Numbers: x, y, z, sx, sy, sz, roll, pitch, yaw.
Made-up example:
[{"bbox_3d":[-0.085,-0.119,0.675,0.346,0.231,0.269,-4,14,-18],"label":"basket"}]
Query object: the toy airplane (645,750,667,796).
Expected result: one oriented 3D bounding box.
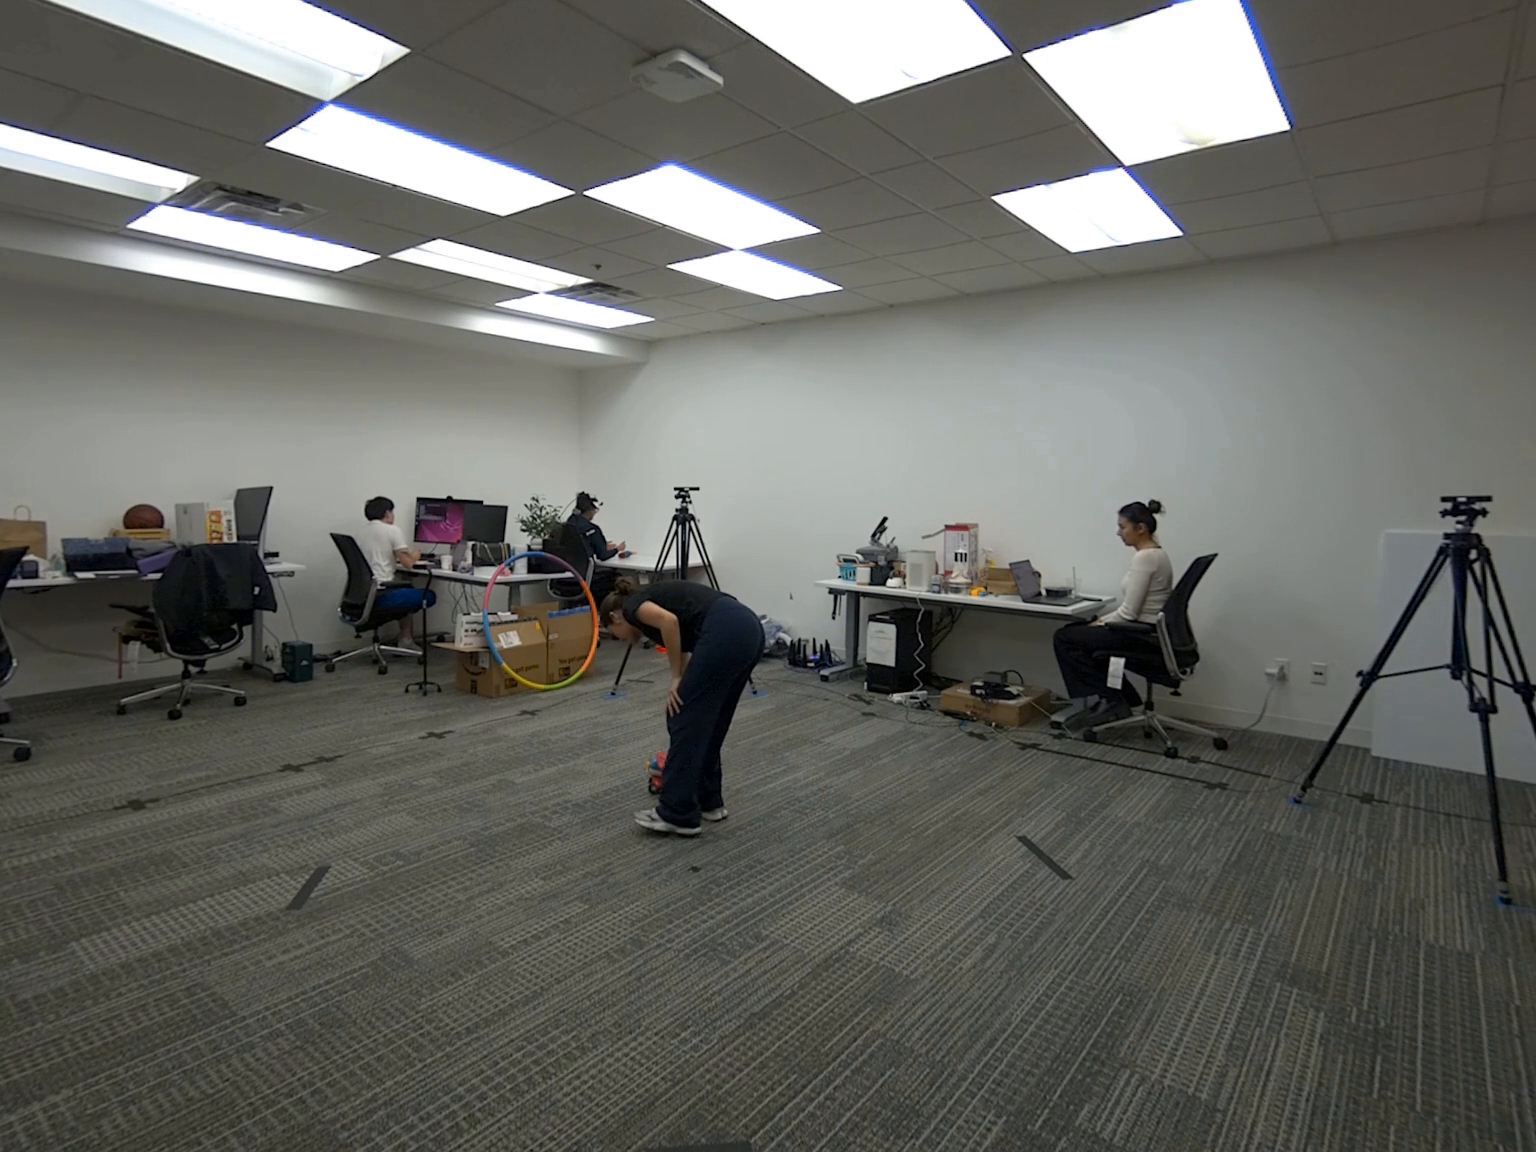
[{"bbox_3d":[-0.410,0.903,3.949,0.252,0.156,0.259,-3,7,-33],"label":"toy airplane"}]
